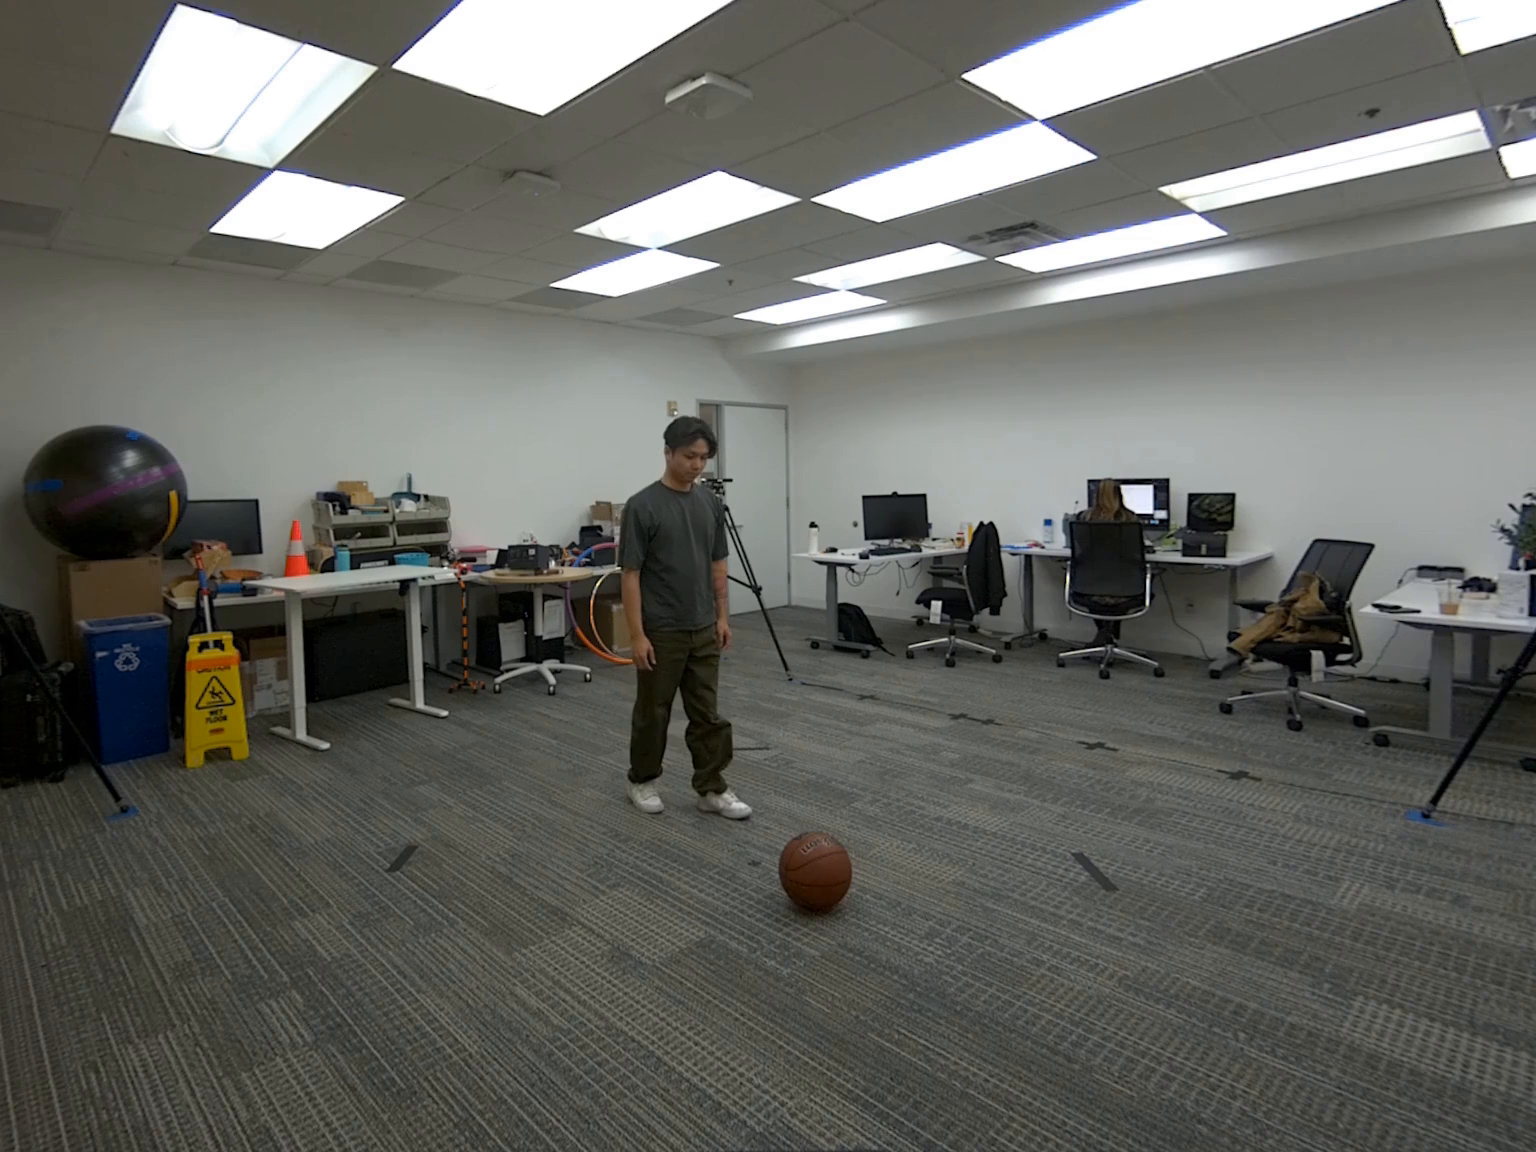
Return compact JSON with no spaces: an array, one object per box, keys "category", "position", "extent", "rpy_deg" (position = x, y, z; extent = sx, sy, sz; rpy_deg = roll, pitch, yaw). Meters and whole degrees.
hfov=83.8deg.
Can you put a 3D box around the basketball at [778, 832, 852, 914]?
[{"category":"basketball","position":[0.158,0.953,2.789],"extent":[0.236,0.235,0.237],"rpy_deg":[-1,5,-2]}]
